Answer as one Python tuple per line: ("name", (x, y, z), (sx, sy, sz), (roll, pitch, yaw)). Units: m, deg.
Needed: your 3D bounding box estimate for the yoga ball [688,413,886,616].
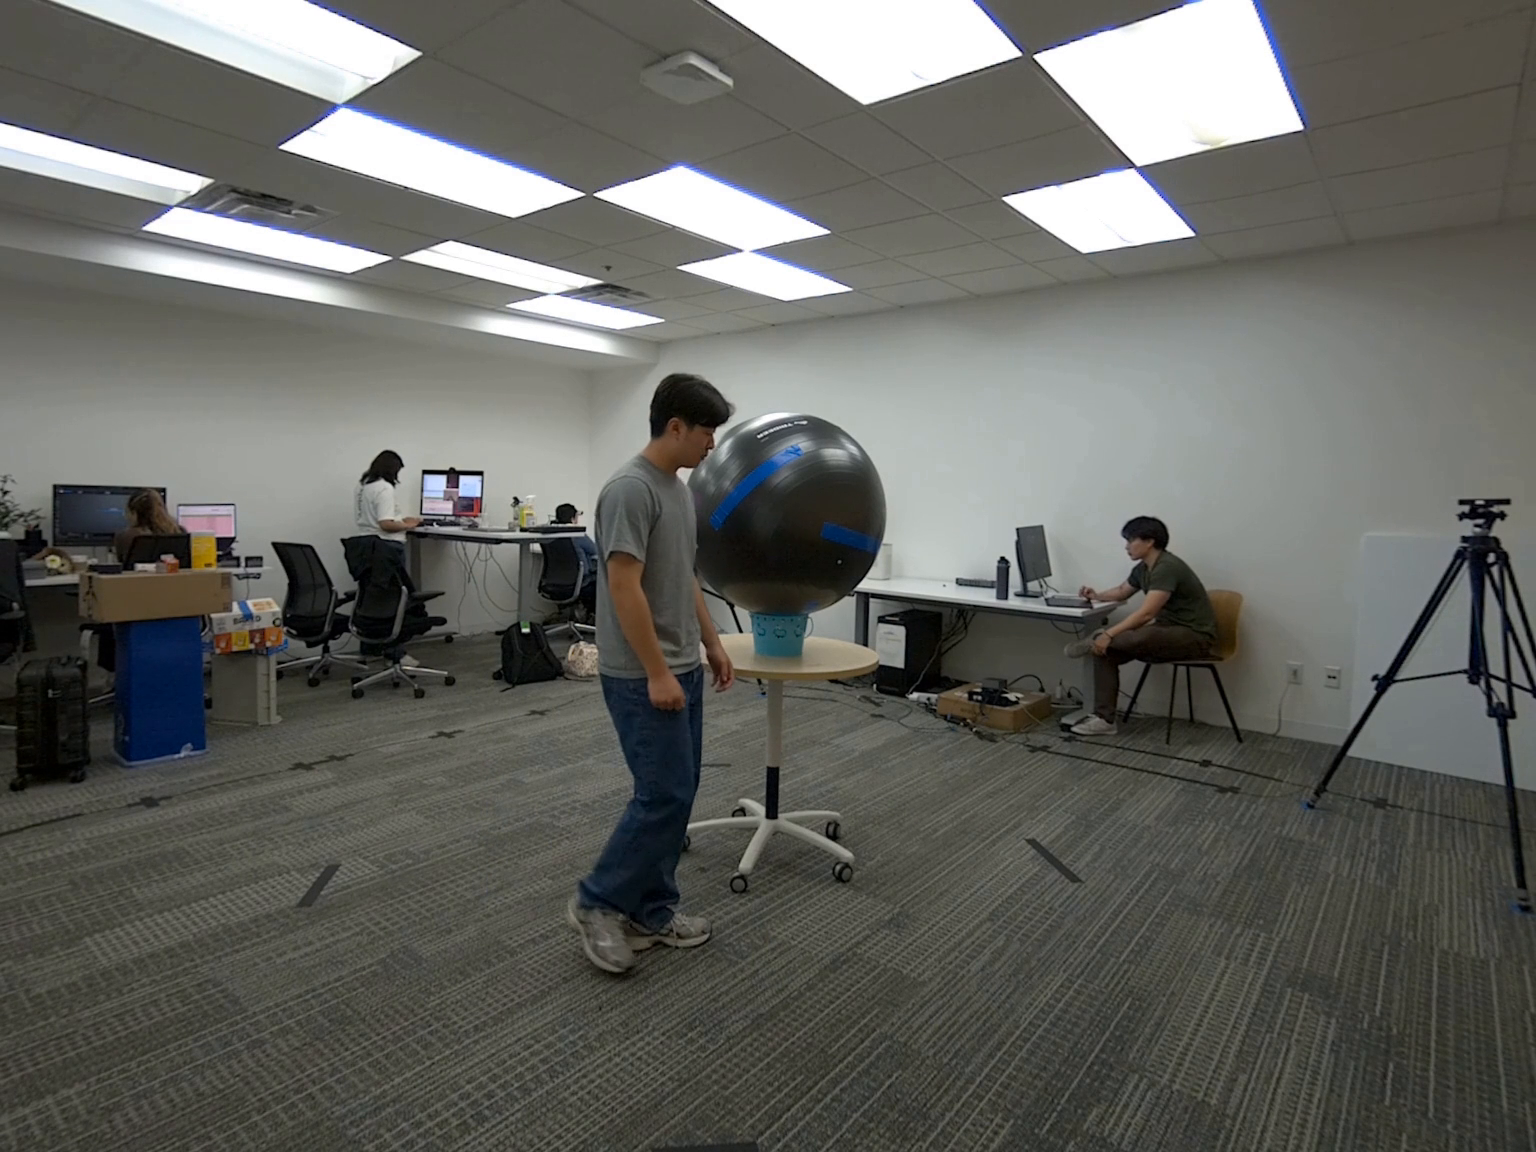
("yoga ball", (0.049, -0.227, 3.179), (0.757, 0.755, 0.762), (1, 4, -2))
